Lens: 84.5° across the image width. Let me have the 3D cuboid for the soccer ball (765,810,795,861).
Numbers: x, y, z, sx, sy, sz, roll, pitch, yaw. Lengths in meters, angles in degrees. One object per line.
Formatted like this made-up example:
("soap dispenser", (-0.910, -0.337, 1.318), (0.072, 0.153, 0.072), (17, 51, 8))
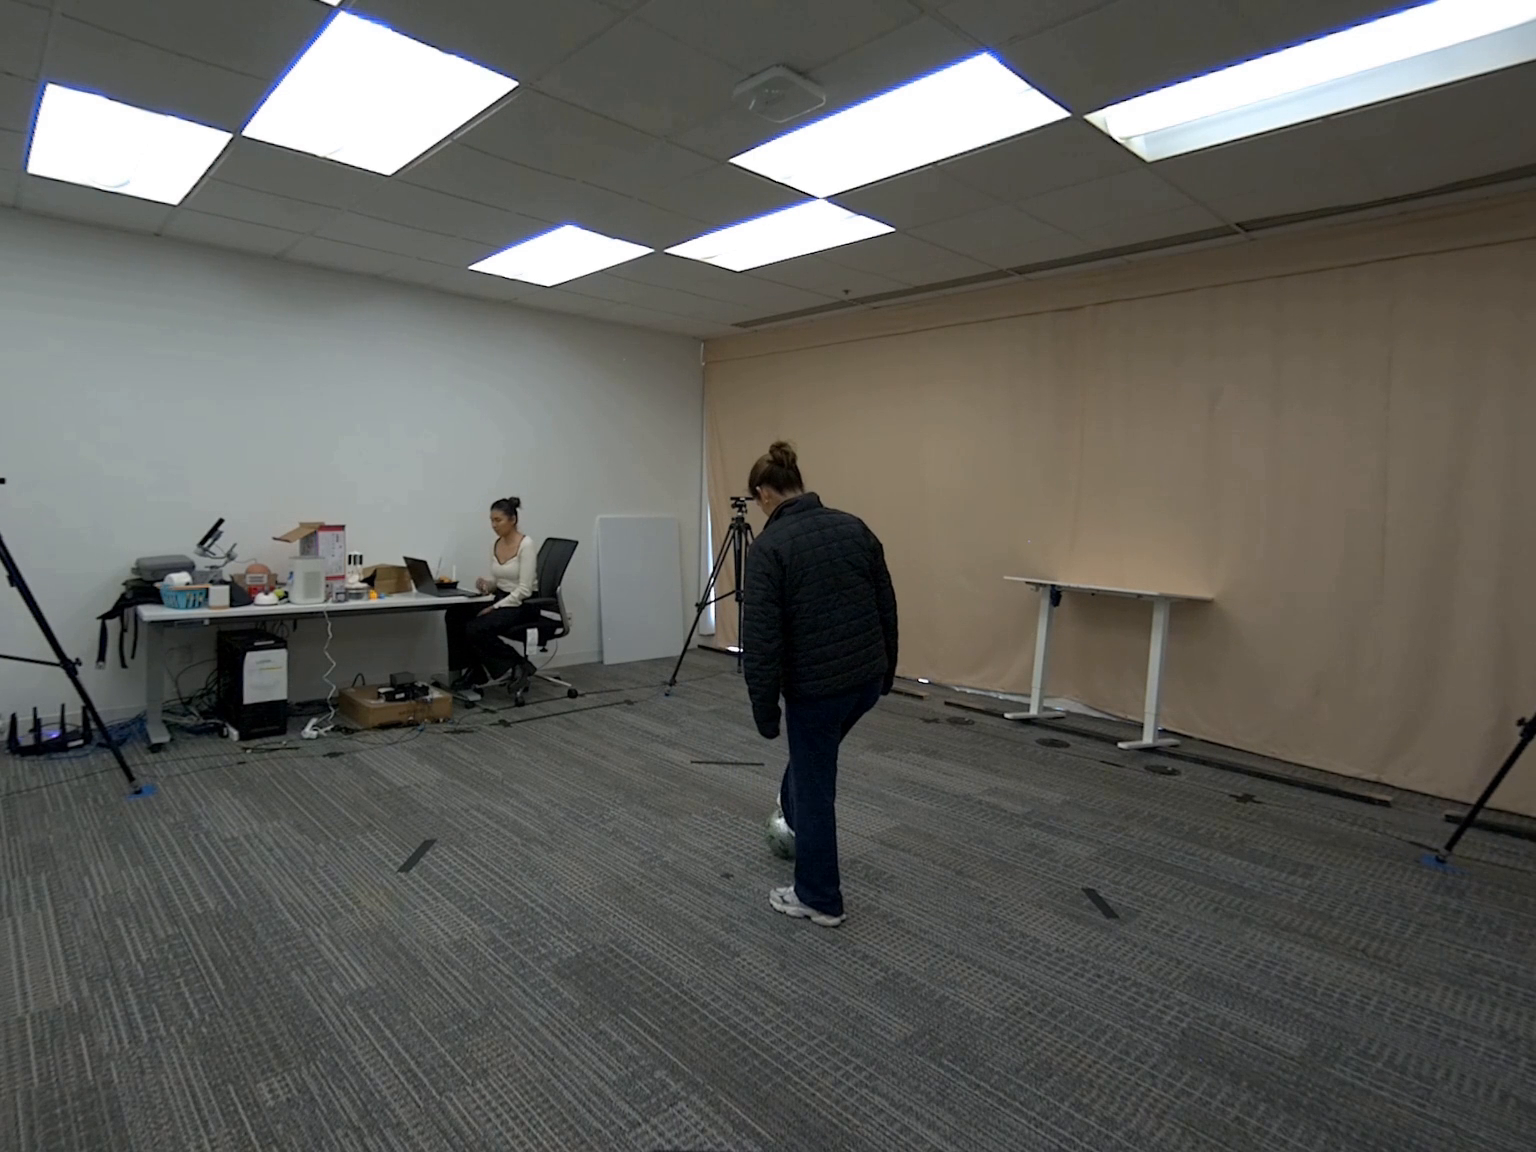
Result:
("soccer ball", (0.077, 1.003, 3.288), (0.187, 0.187, 0.188), (1, 4, -1))
